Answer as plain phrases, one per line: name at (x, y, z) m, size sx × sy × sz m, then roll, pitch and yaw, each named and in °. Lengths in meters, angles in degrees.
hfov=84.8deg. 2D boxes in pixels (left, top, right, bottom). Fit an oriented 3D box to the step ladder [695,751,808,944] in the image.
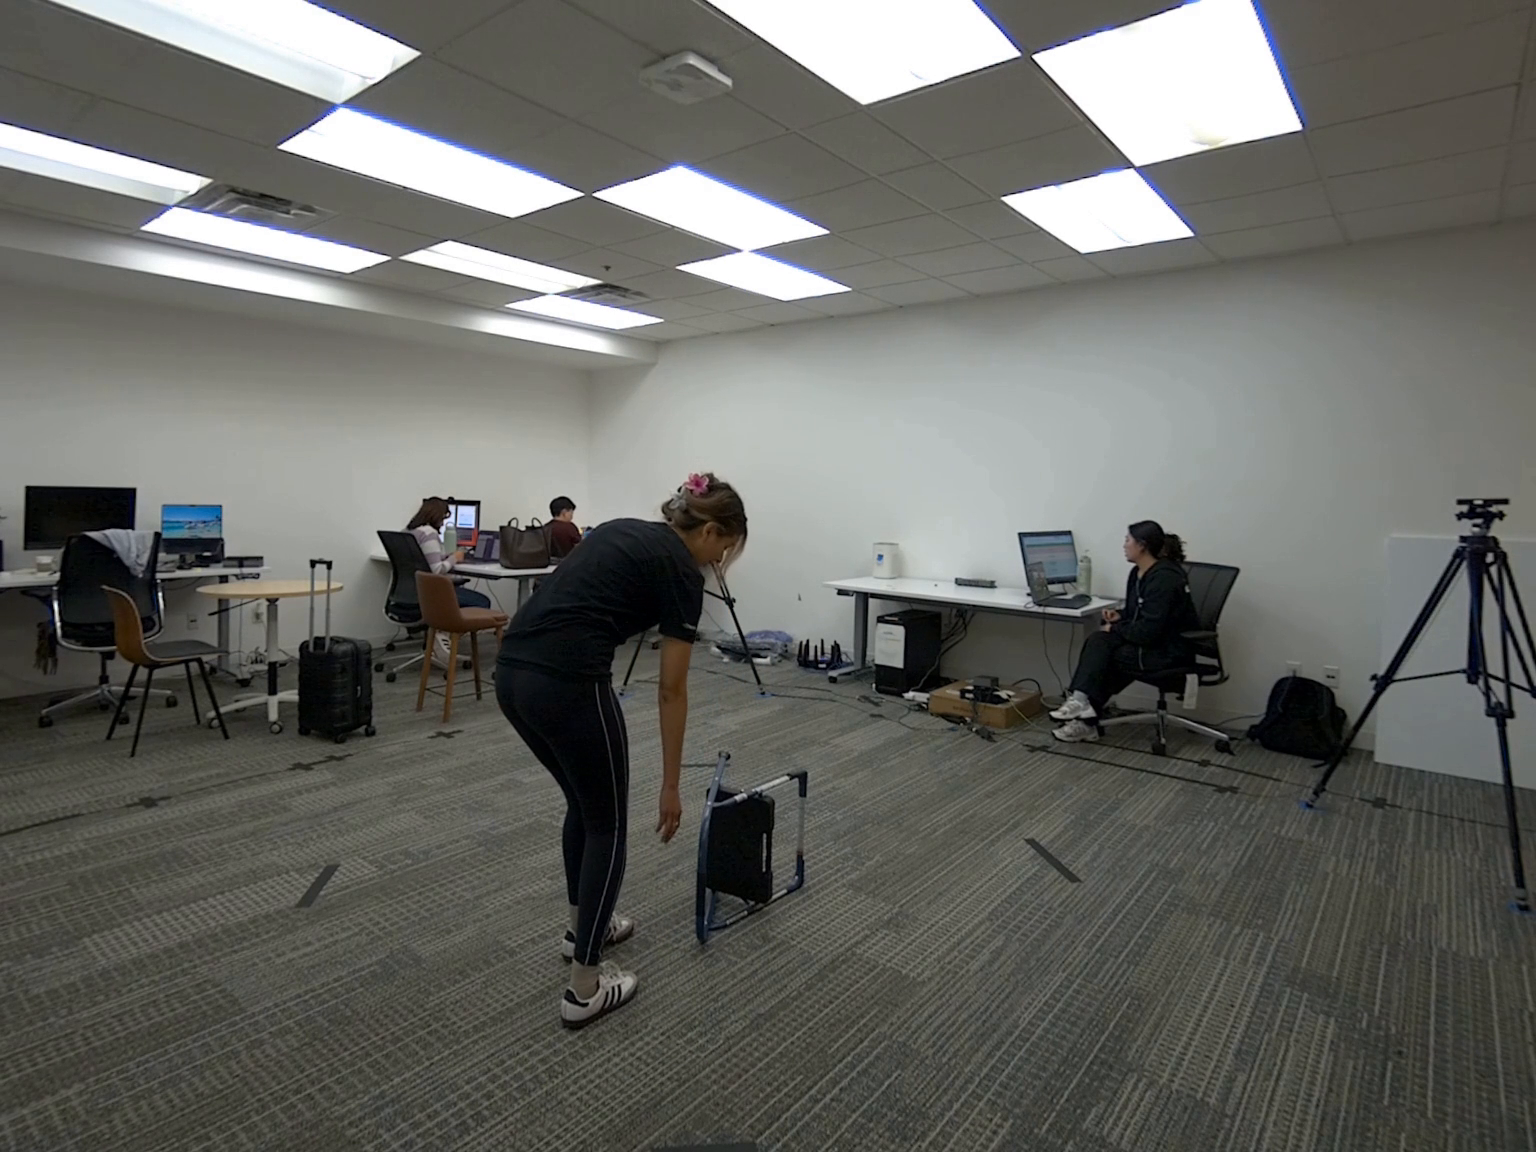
step ladder at (-0.147, 0.898, 2.793) m, size 0.358 × 0.428 × 0.593 m, roll 3°, pitch 6°, yaw 25°
